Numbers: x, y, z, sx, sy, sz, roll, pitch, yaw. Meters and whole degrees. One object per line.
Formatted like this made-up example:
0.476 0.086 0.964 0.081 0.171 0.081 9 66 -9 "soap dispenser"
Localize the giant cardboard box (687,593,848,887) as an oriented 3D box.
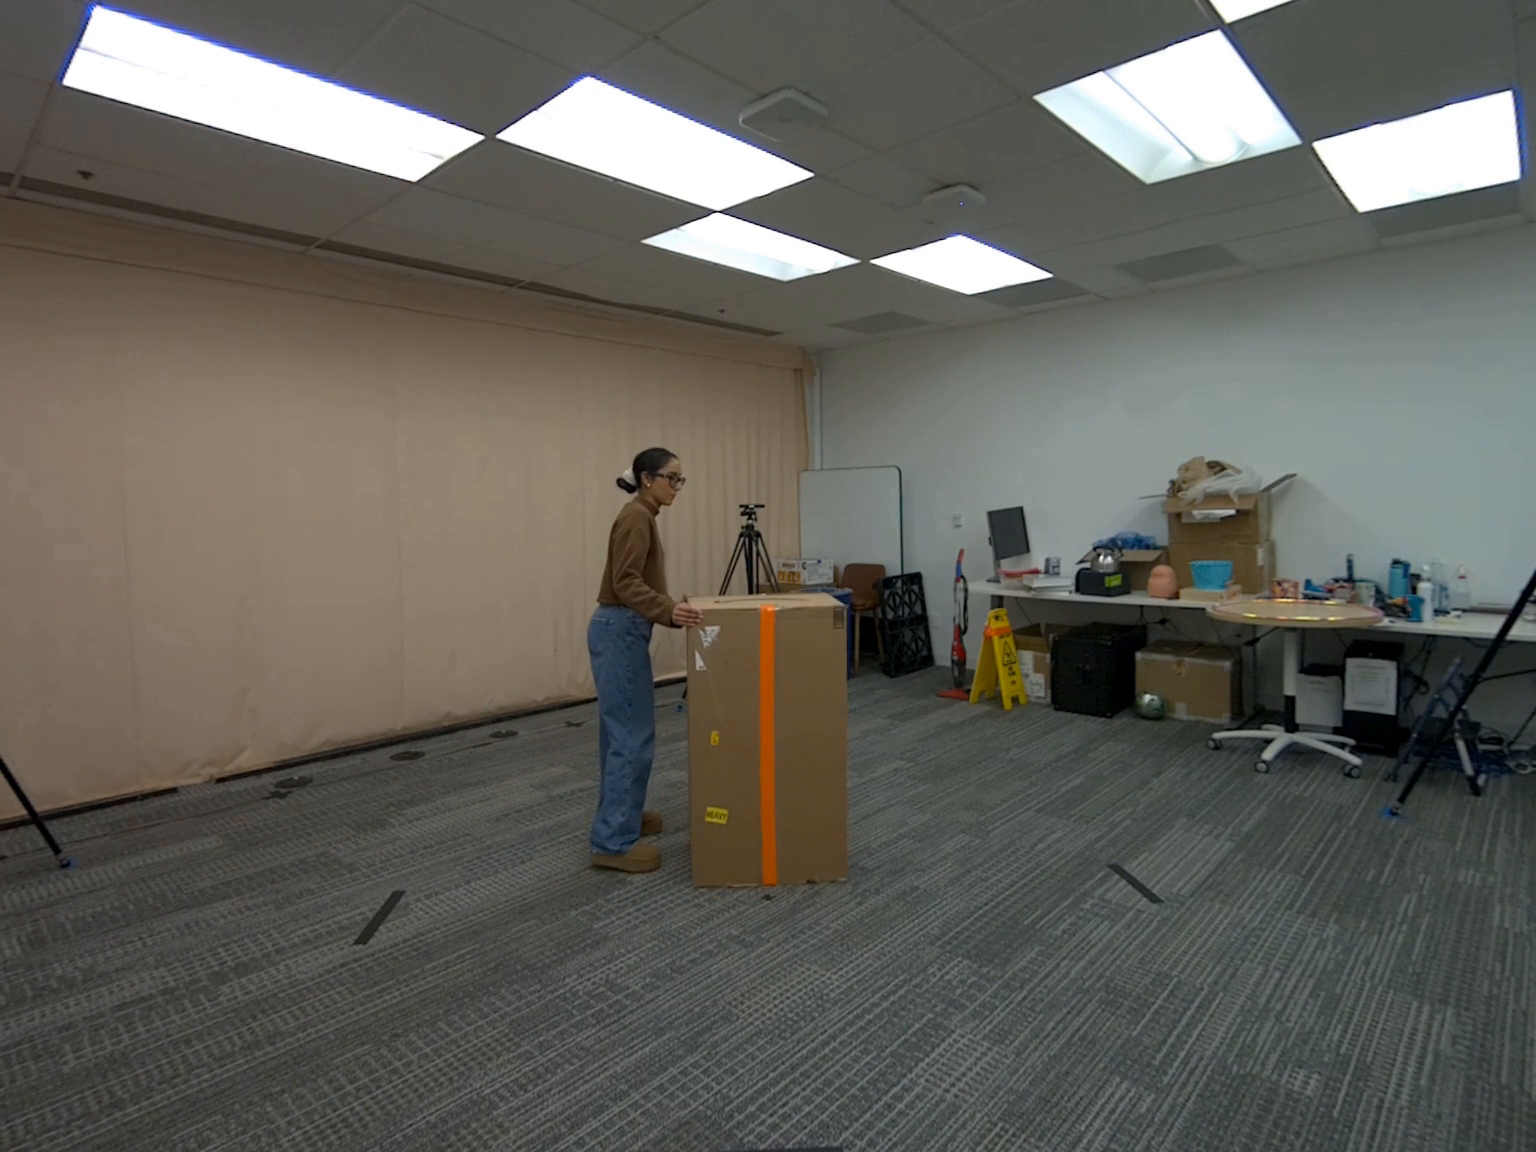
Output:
-0.017 0.606 3.267 0.575 1.023 0.429 -1 3 -4 "giant cardboard box"
